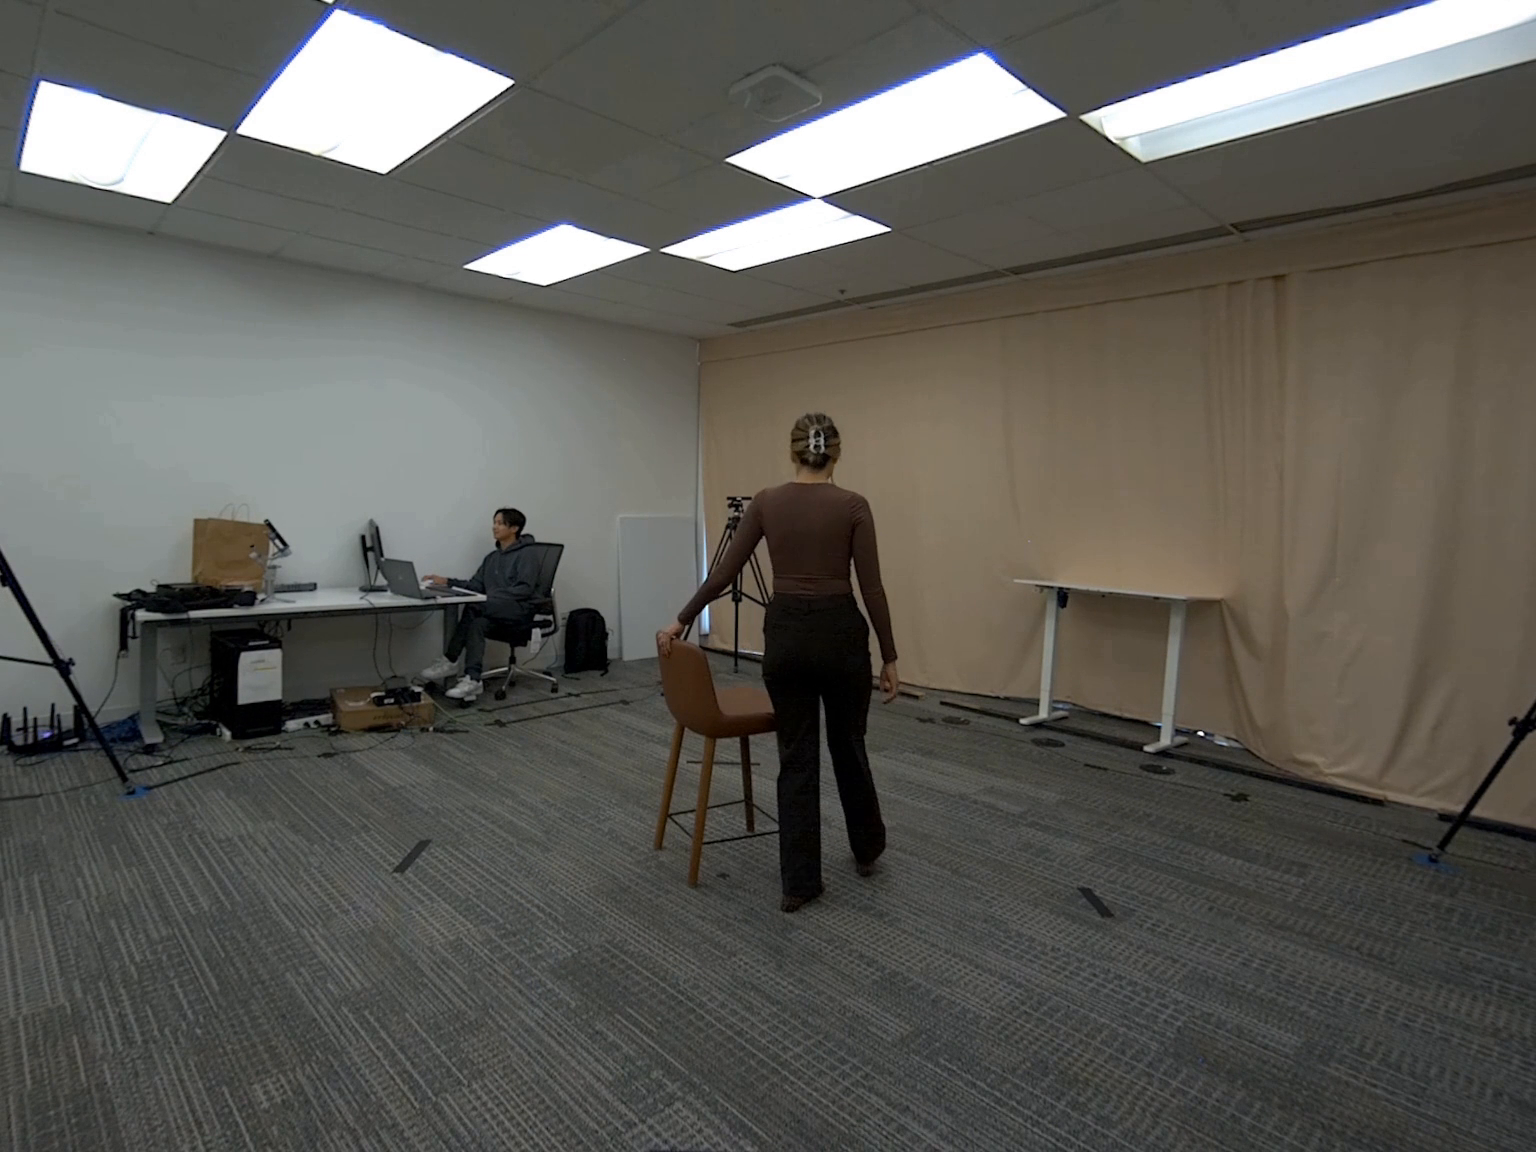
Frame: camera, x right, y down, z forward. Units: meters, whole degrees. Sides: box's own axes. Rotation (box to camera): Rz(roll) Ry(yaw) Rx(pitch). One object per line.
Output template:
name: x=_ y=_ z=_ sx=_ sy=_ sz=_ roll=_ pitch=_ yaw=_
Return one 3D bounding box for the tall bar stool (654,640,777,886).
tall bar stool: x=-0.171 y=0.657 z=3.243 sx=0.459 sy=0.887 sz=0.466 roll=-3 pitch=4 yaw=-27
